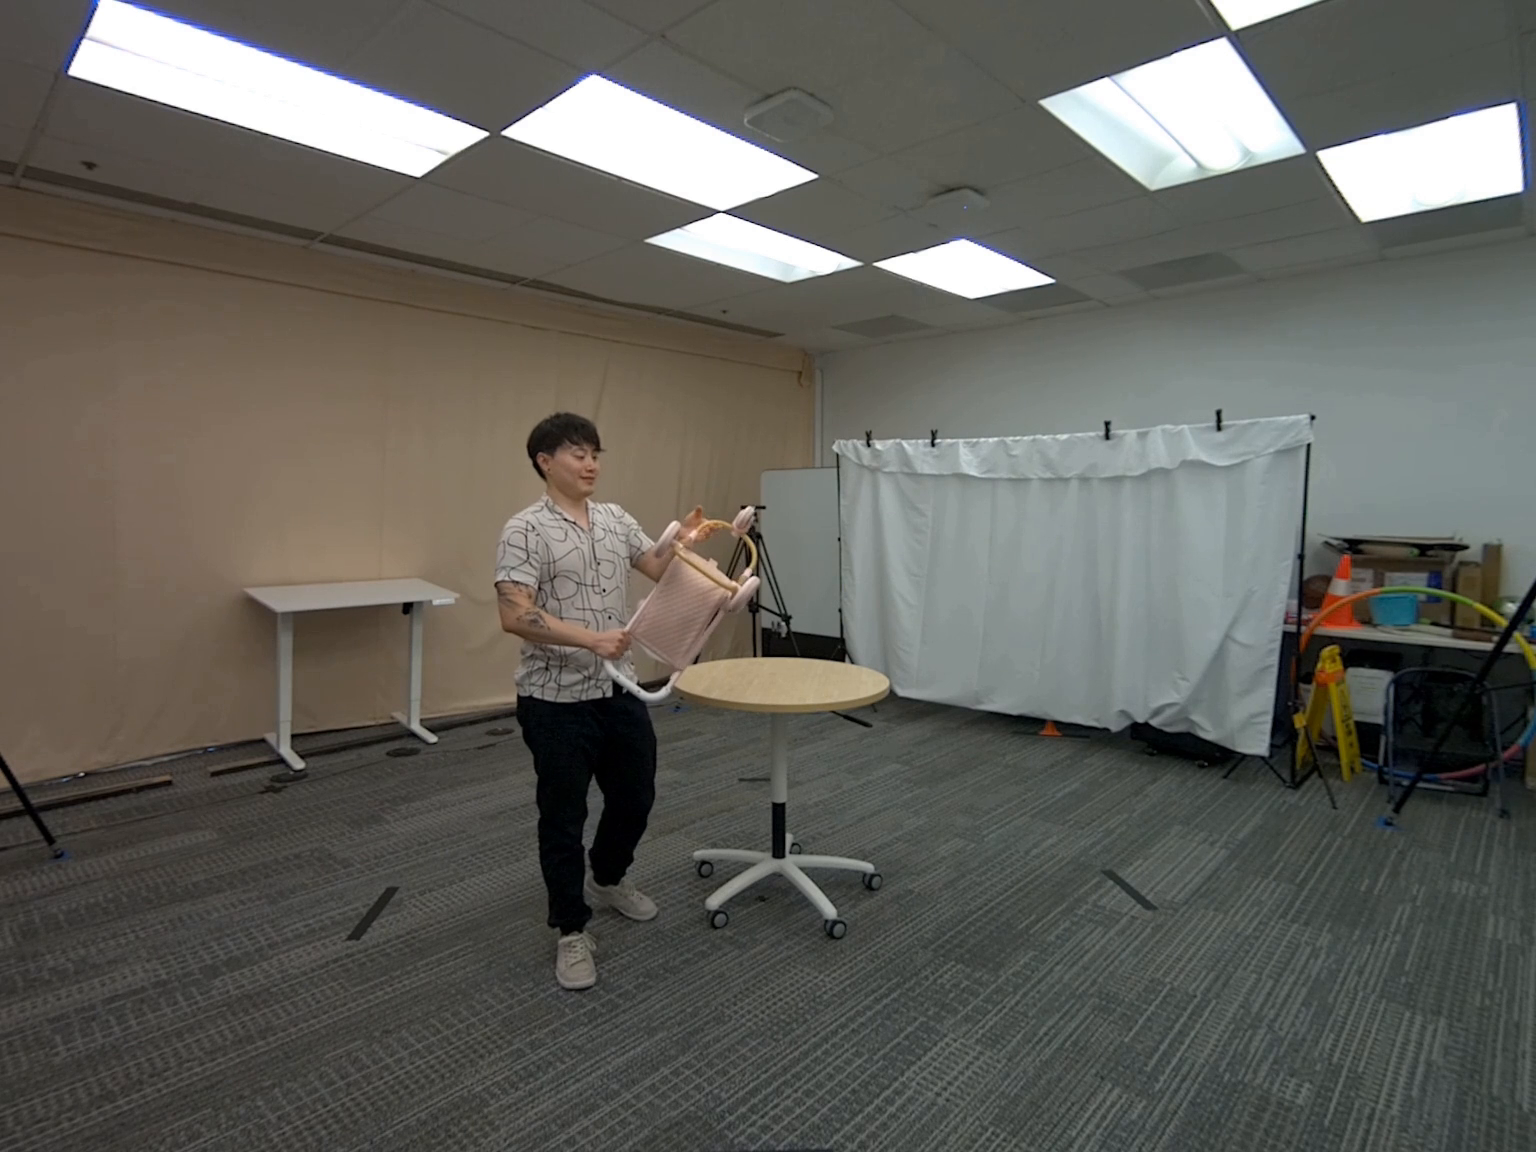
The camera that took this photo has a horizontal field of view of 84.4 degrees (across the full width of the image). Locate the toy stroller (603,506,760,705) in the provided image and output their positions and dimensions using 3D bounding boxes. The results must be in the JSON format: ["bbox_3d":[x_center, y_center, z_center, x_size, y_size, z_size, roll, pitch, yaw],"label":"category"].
[{"bbox_3d":[-0.214,0.057,2.327,0.281,0.535,0.341,33,23,-2],"label":"toy stroller"}]
